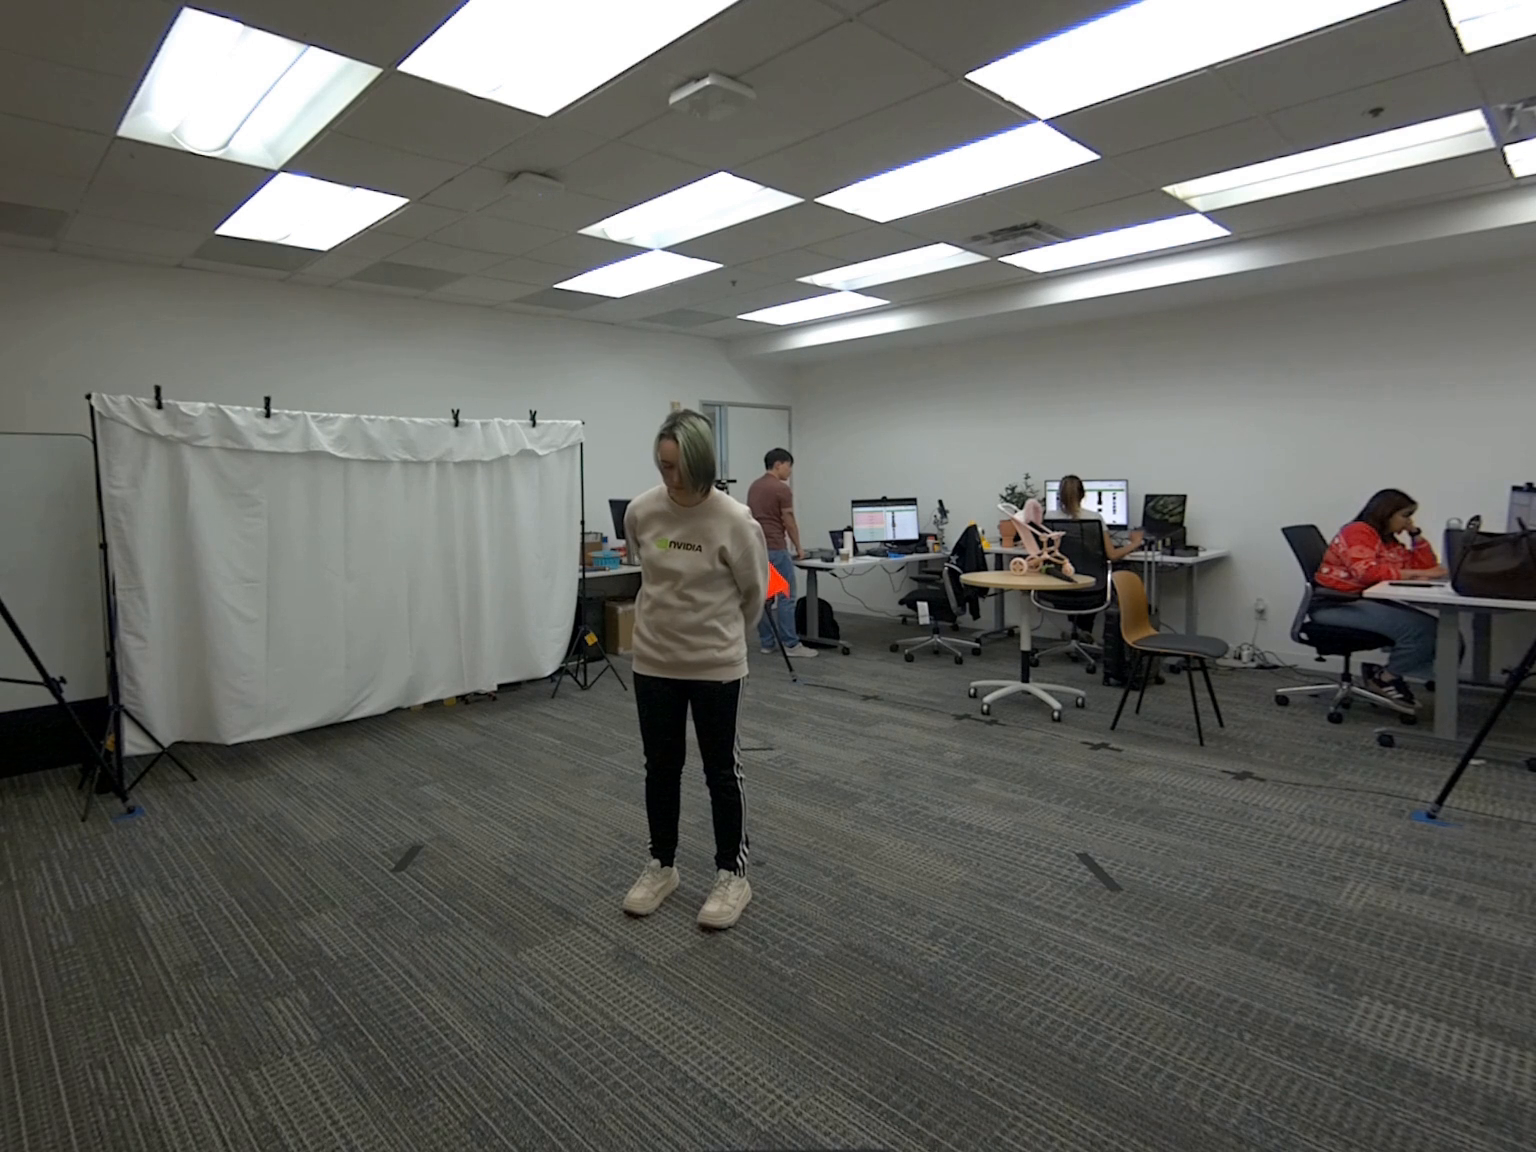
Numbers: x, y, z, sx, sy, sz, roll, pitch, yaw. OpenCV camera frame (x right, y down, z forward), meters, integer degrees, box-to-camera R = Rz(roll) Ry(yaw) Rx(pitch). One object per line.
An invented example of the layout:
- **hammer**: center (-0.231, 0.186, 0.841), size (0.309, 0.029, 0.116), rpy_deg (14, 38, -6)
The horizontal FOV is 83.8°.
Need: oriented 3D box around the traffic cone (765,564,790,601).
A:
- **traffic cone**: center (-0.127, 0.106, 3.052), size (0.383, 0.211, 0.198), rpy_deg (-39, -21, -4)
